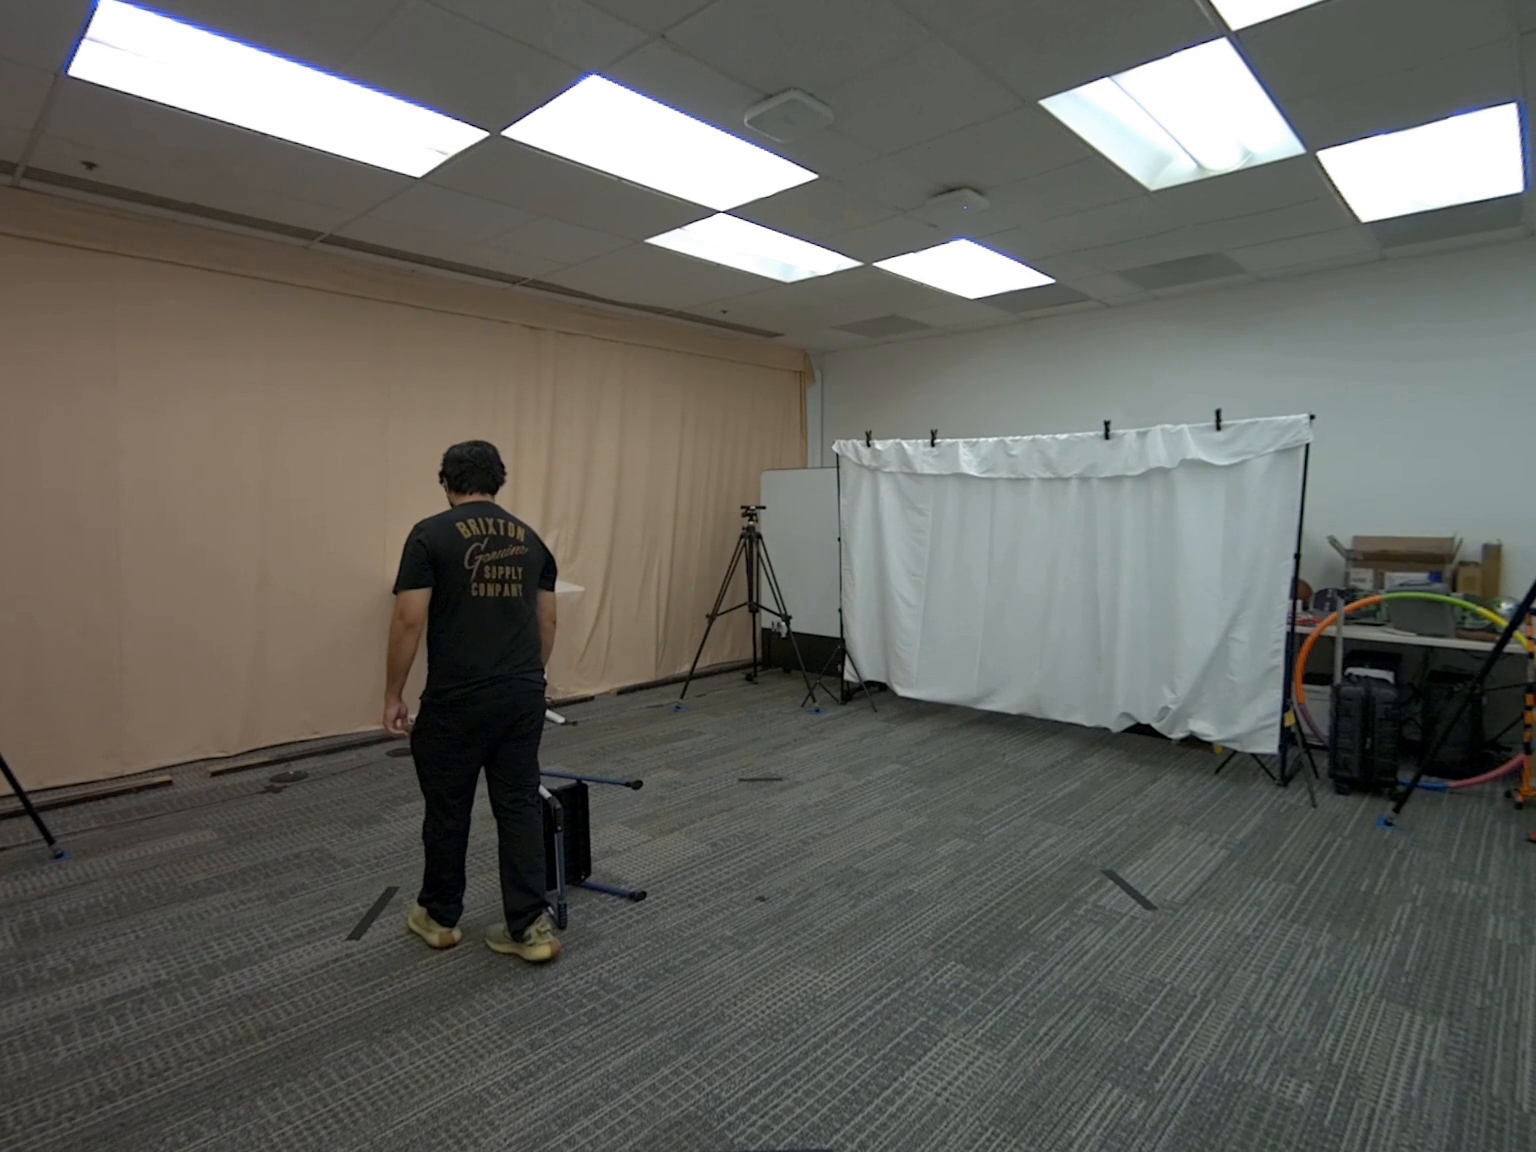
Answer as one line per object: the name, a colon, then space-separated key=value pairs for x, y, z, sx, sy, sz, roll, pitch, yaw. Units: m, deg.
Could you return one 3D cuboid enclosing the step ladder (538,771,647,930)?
step ladder: x=-0.770 y=0.933 z=3.085 sx=0.338 sy=0.430 sz=0.626 roll=-2 pitch=2 yaw=-44
